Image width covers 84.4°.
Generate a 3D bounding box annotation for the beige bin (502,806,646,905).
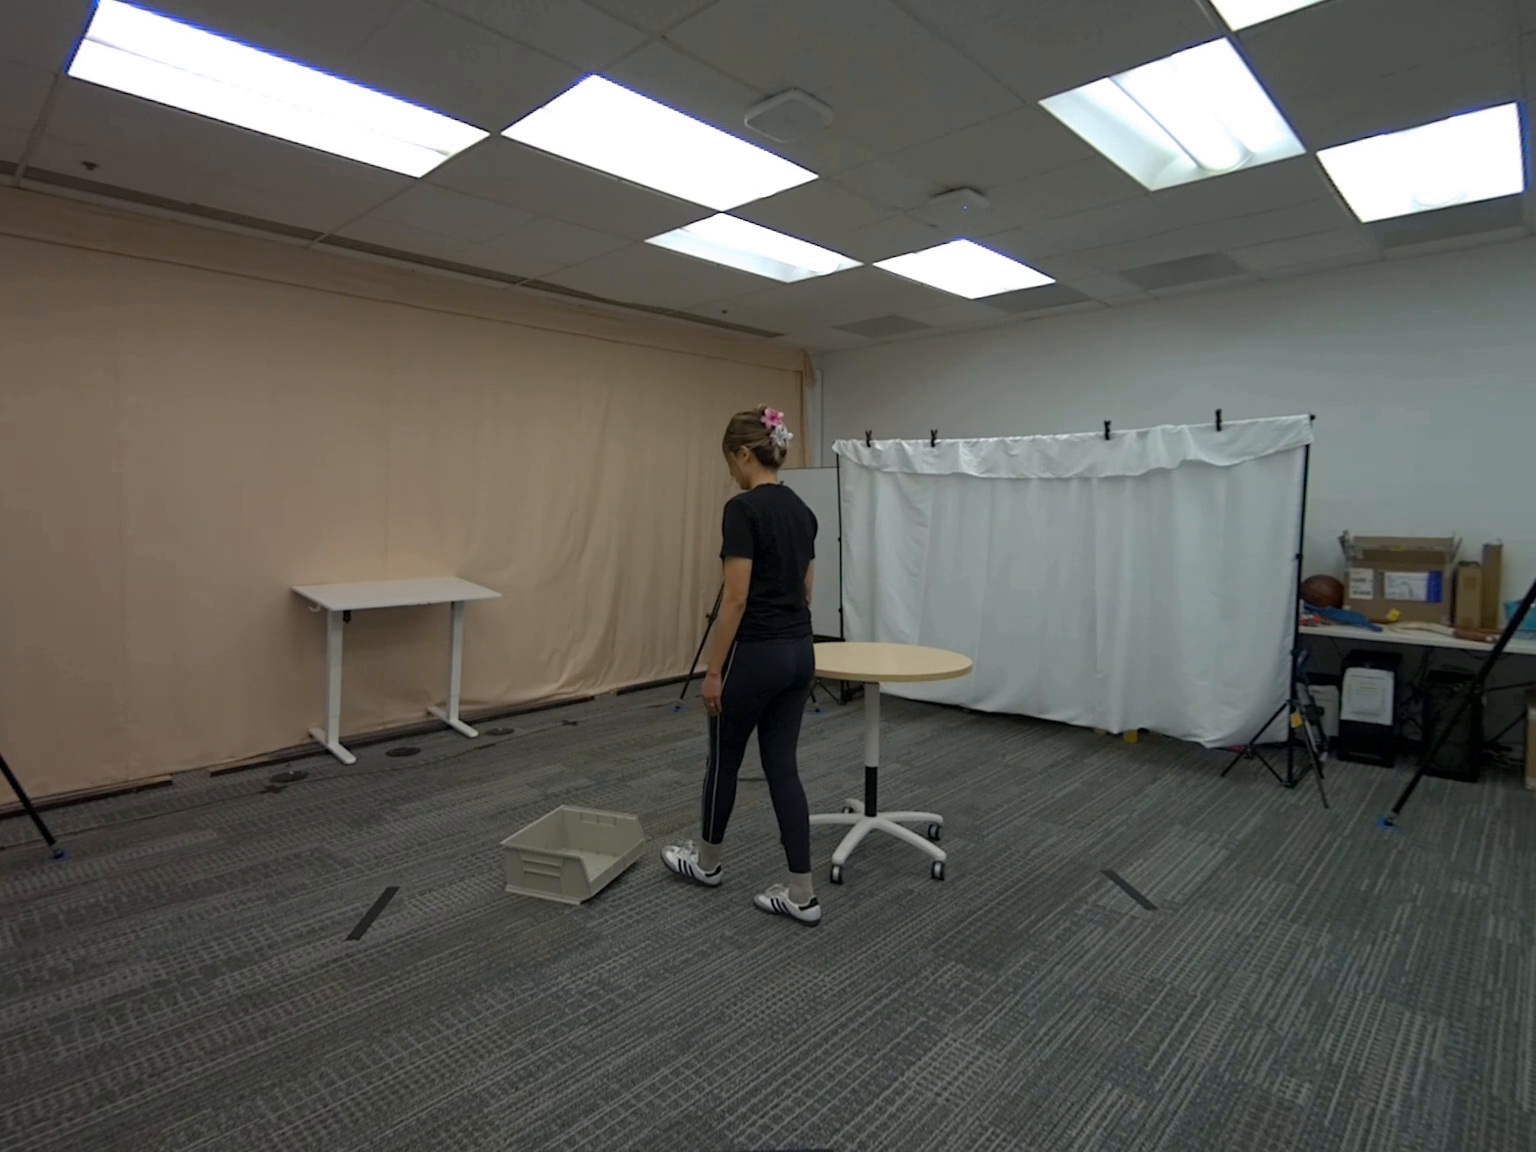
[{"bbox_3d":[-0.731,1.048,3.178,0.385,0.188,0.414,0,5,20],"label":"beige bin"}]
